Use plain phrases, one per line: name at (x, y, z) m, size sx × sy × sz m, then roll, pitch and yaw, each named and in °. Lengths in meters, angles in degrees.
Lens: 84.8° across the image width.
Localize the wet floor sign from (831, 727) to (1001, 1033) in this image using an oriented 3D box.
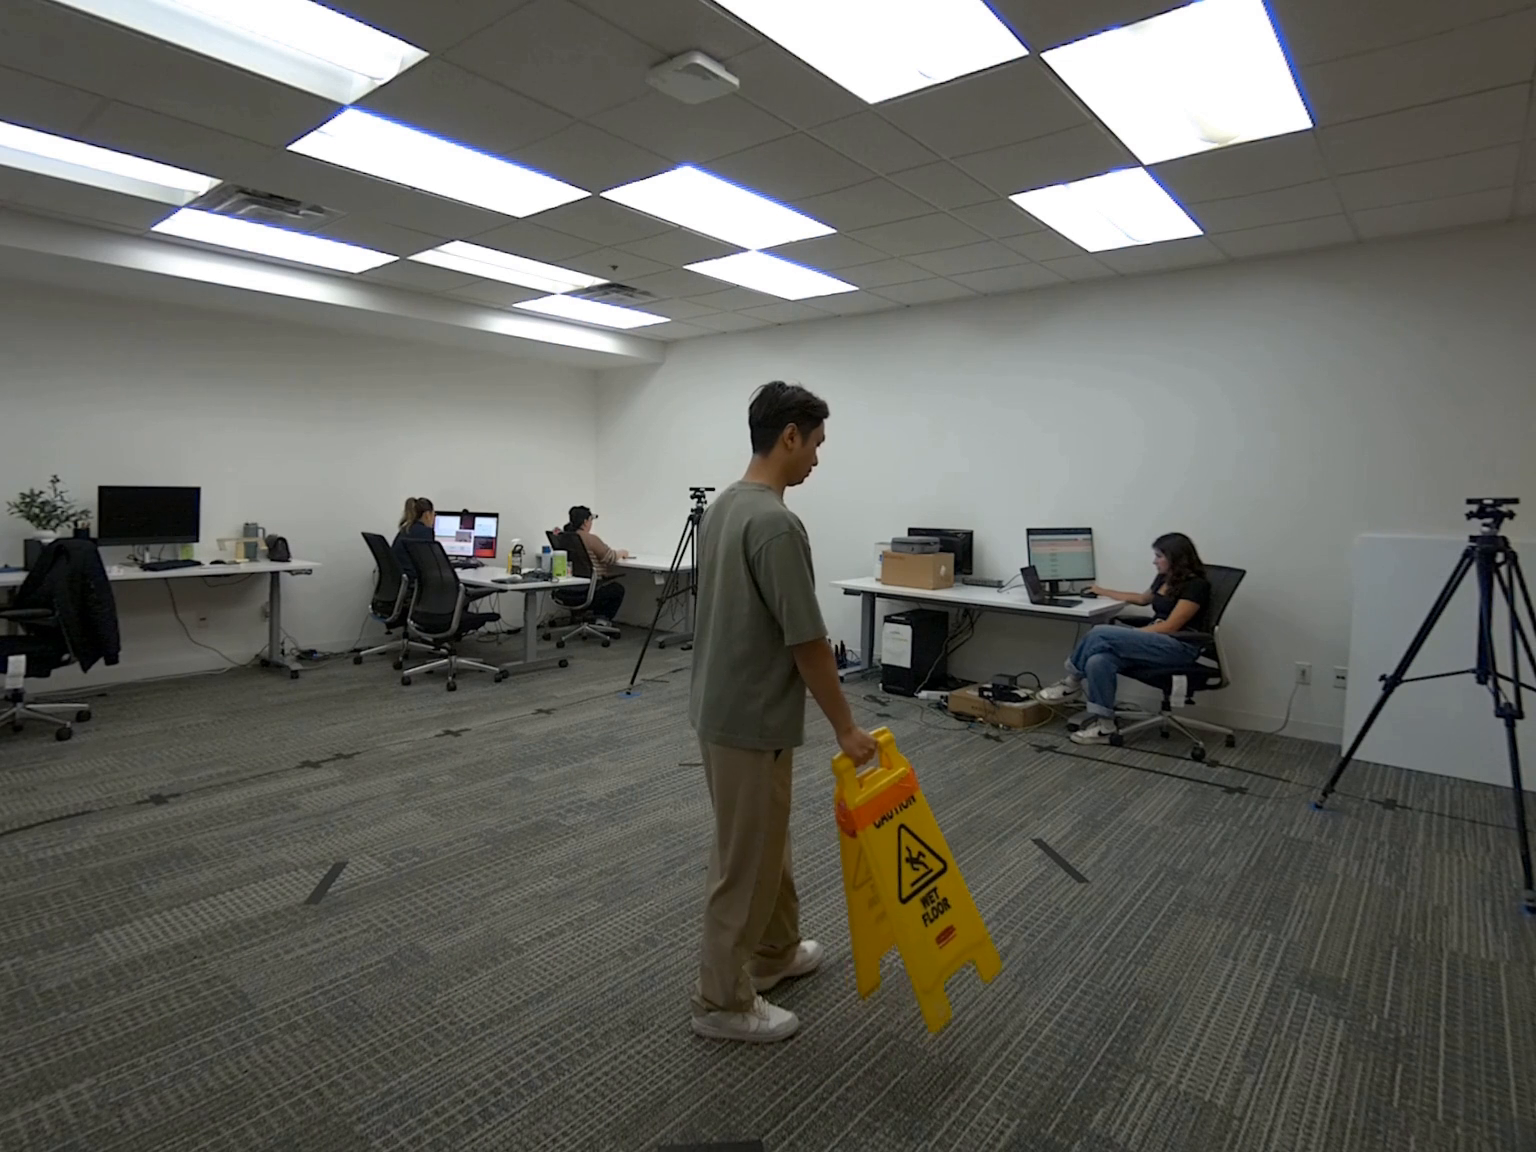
wet floor sign at (0.296, 0.722, 2.114) m, size 0.276 × 0.643 × 0.297 m, roll -18°, pitch 5°, yaw -37°
